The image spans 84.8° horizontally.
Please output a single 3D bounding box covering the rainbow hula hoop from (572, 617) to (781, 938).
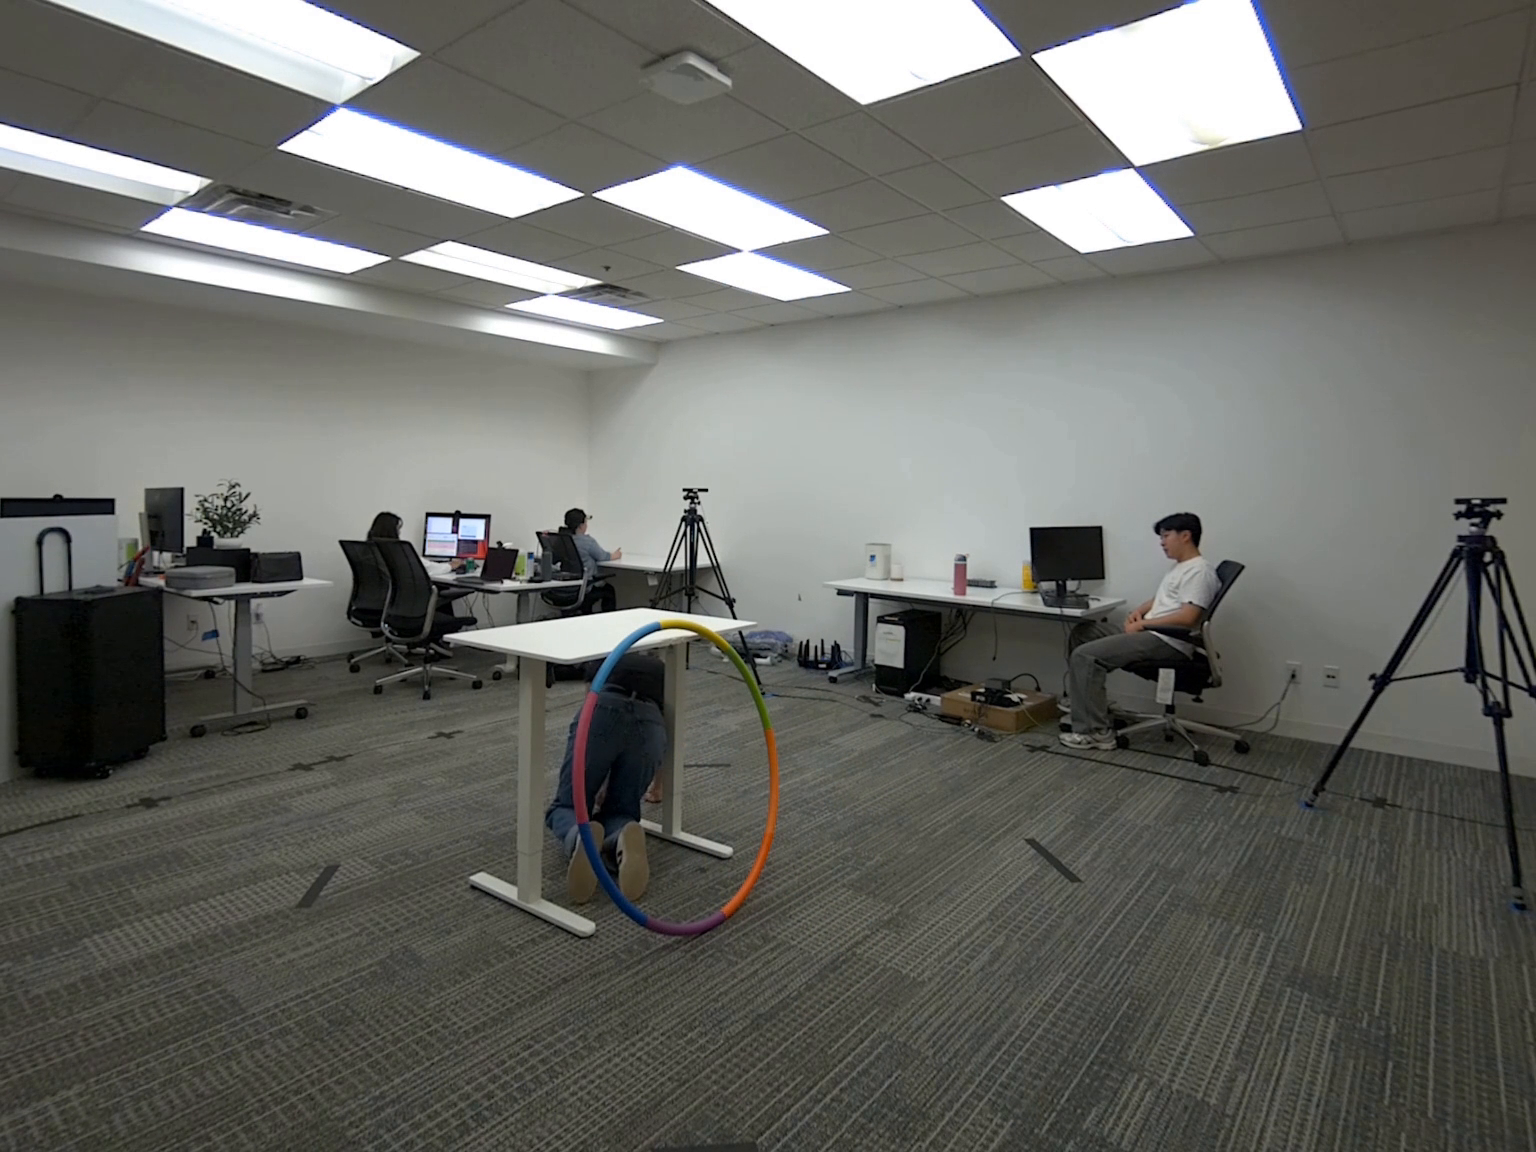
[{"bbox_3d":[-0.254,0.626,2.763,0.036,0.985,0.951,-15,-6,35],"label":"rainbow hula hoop"}]
